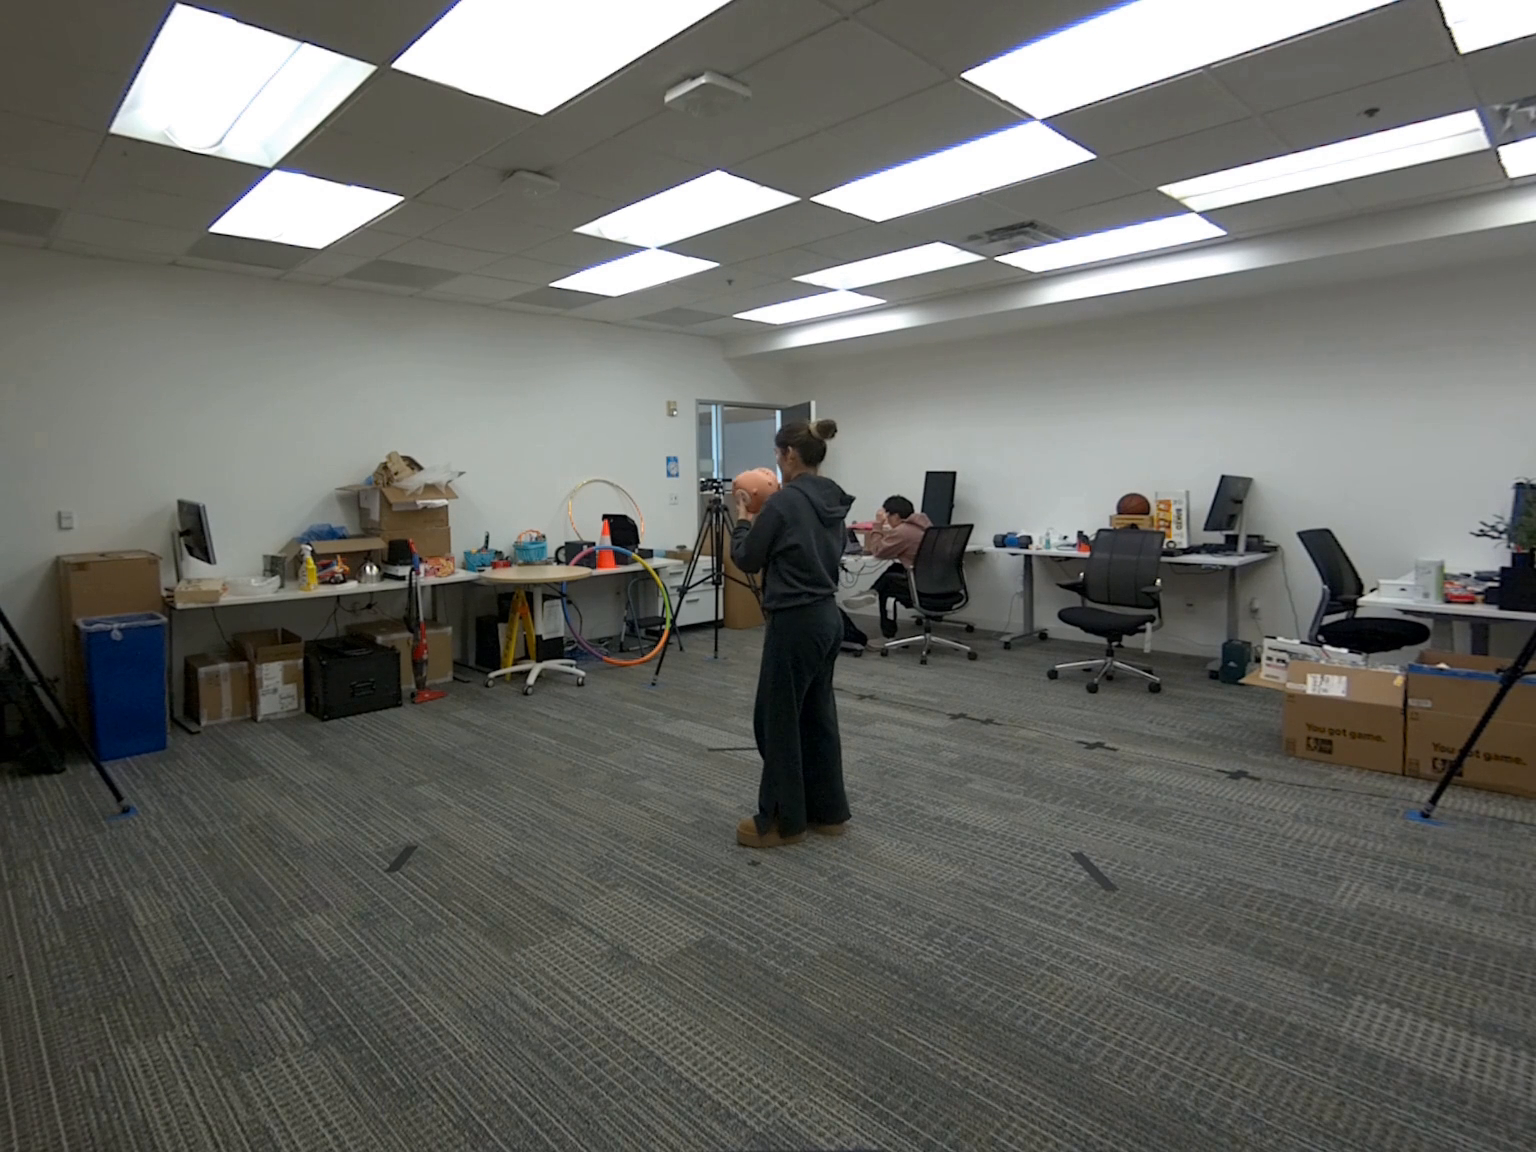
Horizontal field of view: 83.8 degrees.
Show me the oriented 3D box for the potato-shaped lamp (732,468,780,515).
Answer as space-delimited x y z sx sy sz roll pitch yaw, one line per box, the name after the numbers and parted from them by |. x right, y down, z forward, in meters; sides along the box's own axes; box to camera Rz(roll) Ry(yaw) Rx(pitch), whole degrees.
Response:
-0.046 -0.364 3.501 0.170 0.167 0.198 25 49 25 | potato-shaped lamp
